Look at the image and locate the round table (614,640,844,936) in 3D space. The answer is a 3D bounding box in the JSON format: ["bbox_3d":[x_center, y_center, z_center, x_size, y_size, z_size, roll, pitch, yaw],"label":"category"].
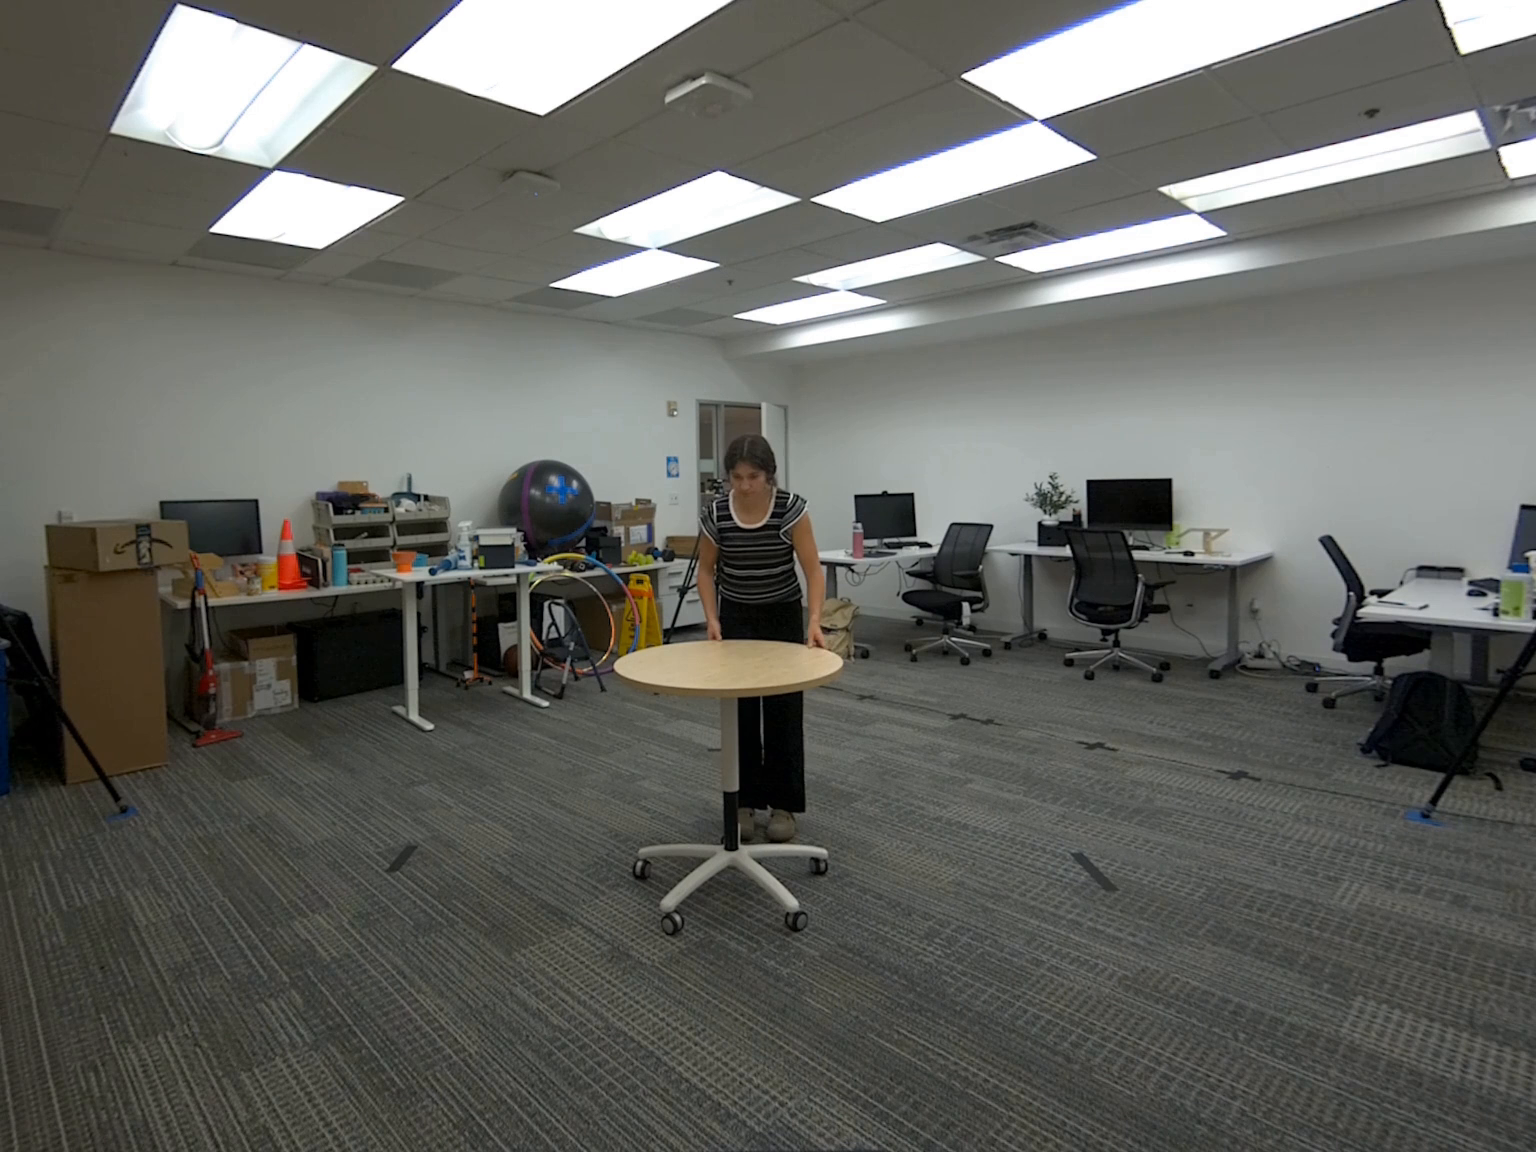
[{"bbox_3d":[-0.113,0.679,2.891,0.784,0.784,0.789,-1,5,-2],"label":"round table"}]
